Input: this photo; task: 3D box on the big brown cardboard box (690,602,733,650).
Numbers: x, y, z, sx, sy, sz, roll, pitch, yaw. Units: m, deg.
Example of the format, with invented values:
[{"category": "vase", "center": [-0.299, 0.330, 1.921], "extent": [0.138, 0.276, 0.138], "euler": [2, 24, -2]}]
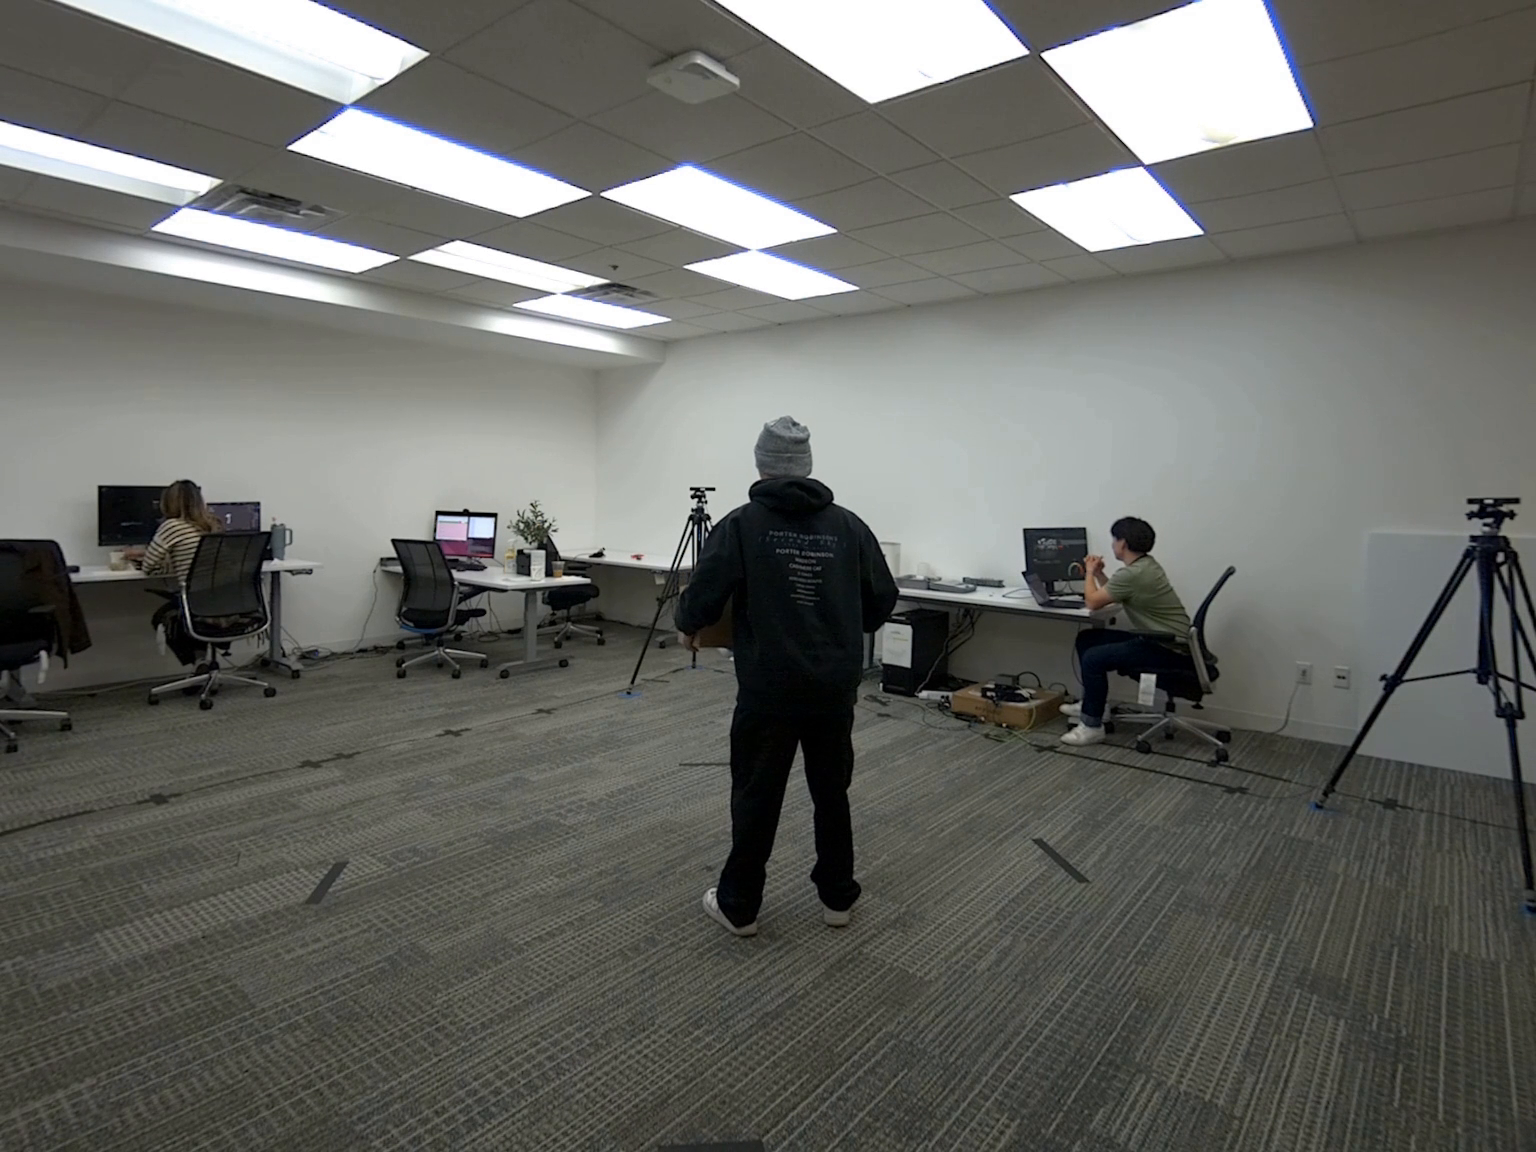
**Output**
[{"category": "big brown cardboard box", "center": [-0.013, 0.147, 3.082], "extent": [0.582, 0.234, 0.421], "euler": [3, -4, -11]}]
